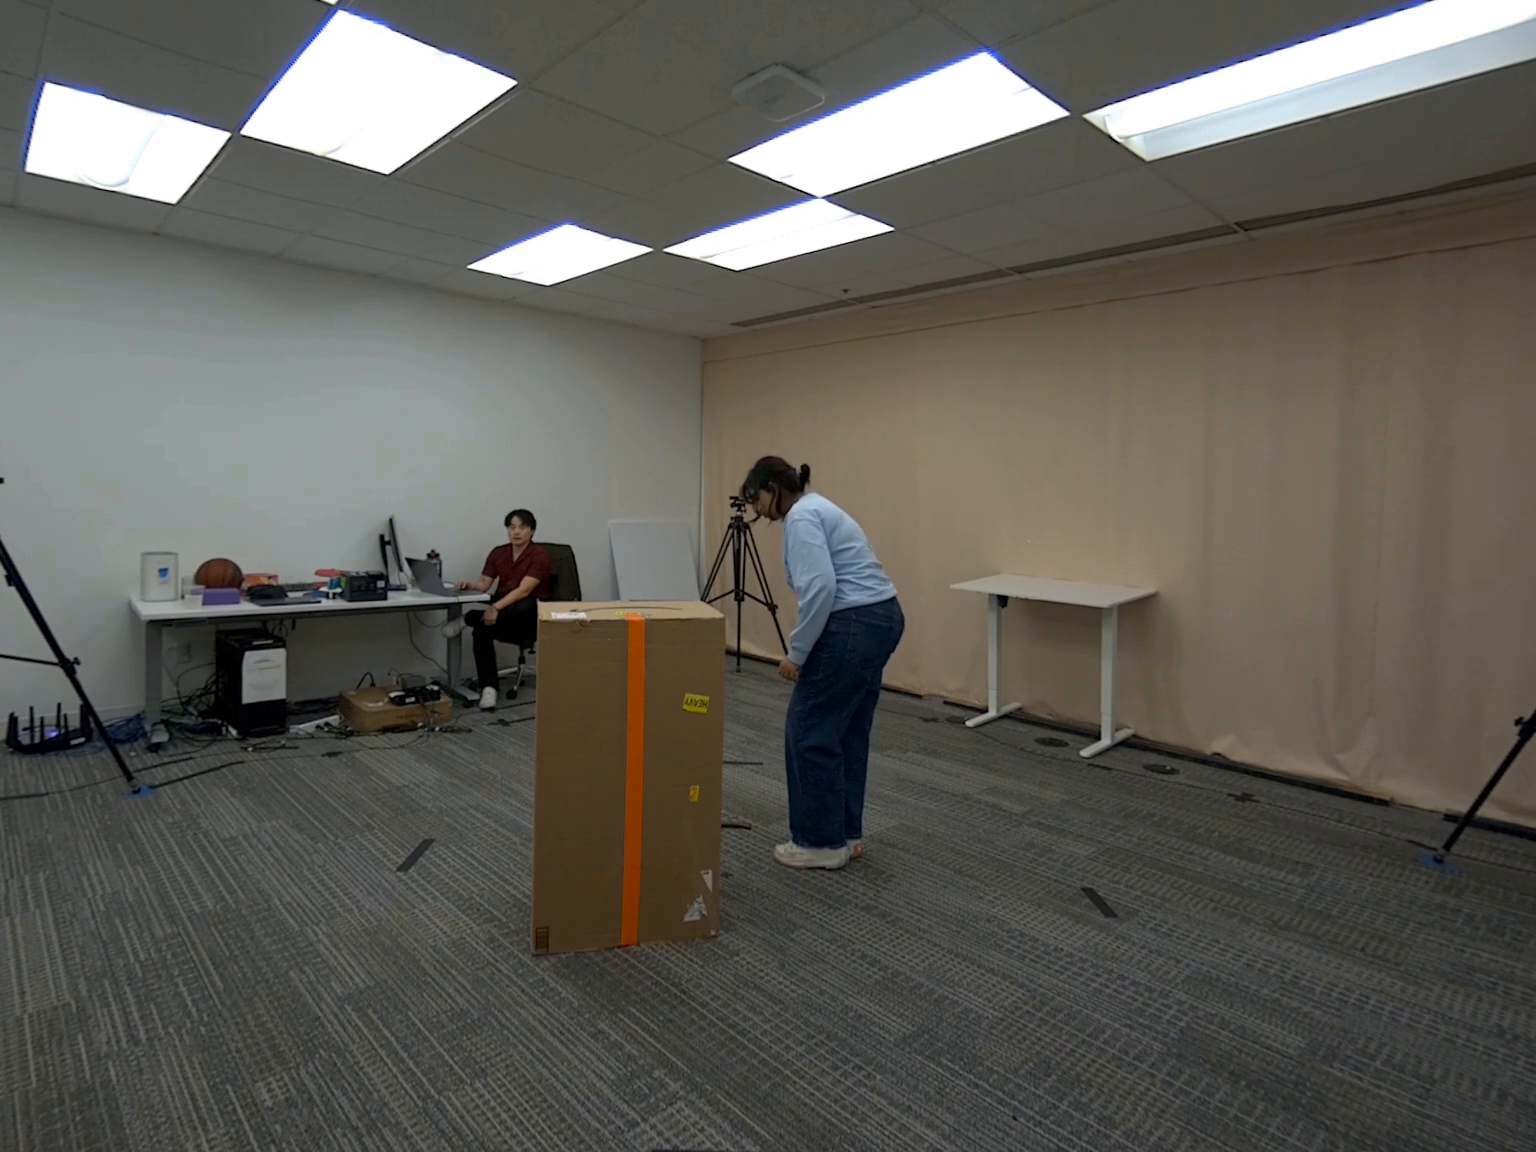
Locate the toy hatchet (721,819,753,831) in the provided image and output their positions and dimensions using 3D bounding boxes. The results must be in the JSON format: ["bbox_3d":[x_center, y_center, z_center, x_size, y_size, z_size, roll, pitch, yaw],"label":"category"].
[{"bbox_3d":[-0.202,1.054,3.518,0.270,0.029,0.131,3,5,2],"label":"toy hatchet"}]
